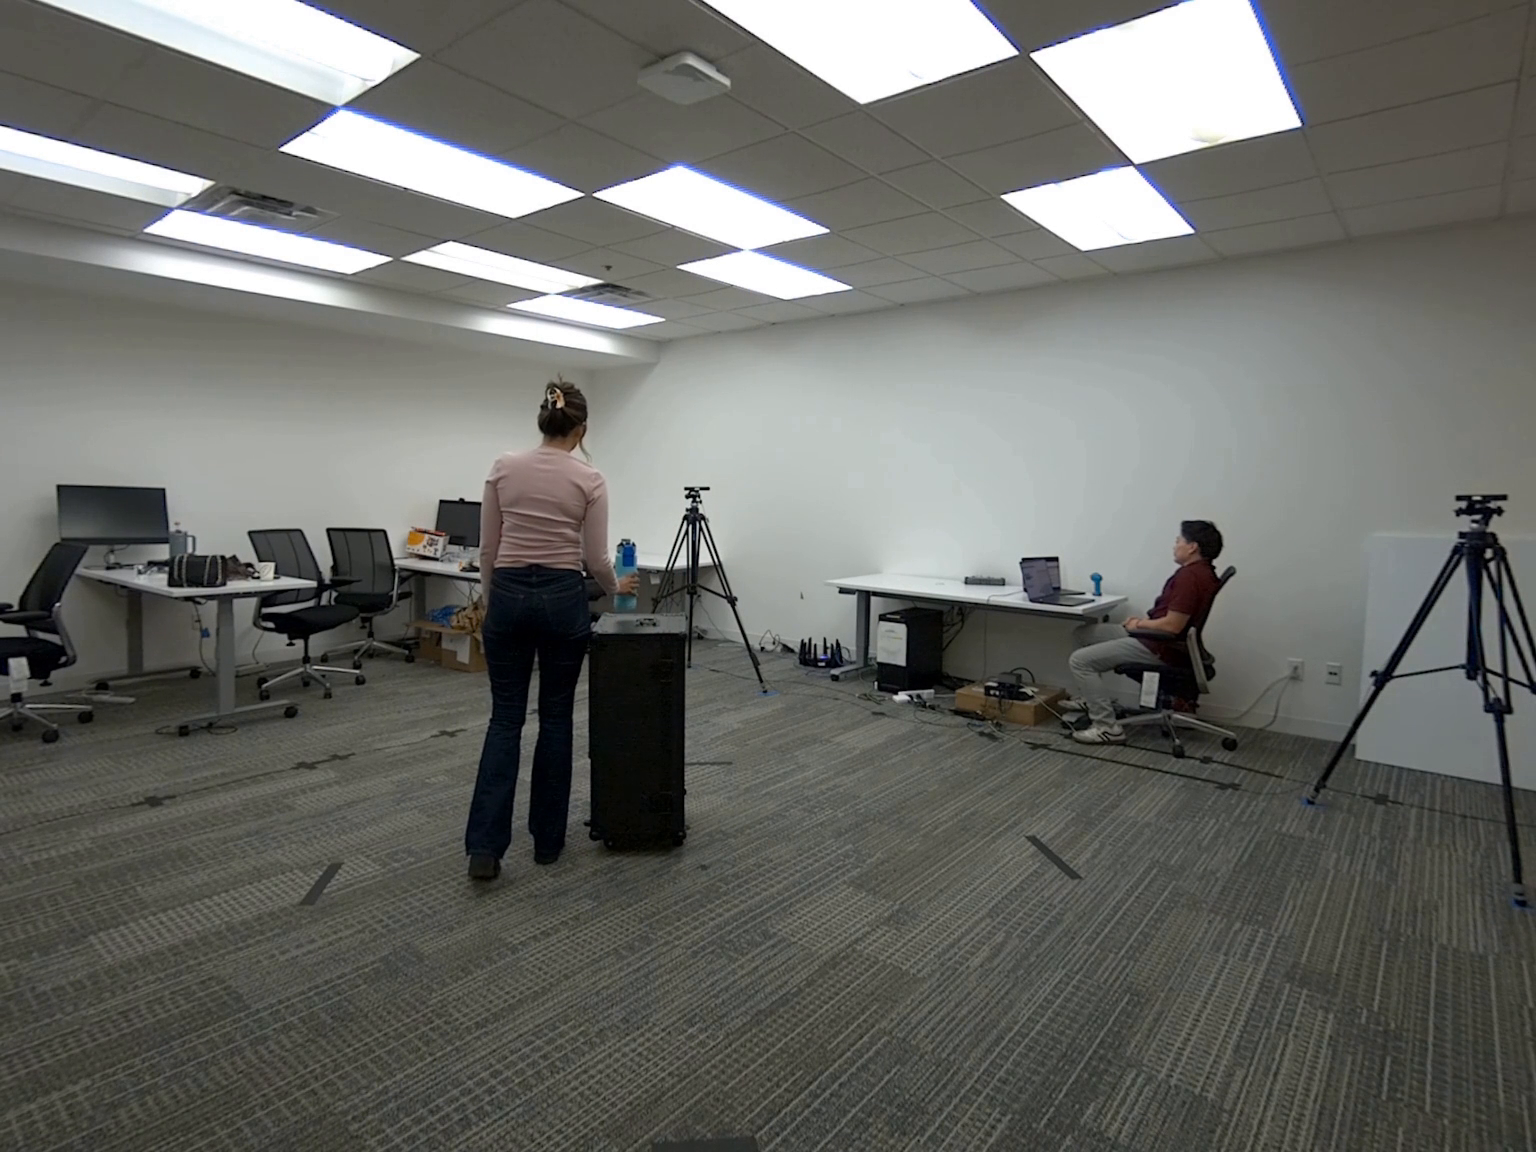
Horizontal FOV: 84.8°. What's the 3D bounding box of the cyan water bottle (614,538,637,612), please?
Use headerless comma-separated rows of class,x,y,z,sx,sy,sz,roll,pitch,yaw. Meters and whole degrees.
cyan water bottle,-0.590,-0.012,3.482,0.092,0.281,0.093,4,7,-2
